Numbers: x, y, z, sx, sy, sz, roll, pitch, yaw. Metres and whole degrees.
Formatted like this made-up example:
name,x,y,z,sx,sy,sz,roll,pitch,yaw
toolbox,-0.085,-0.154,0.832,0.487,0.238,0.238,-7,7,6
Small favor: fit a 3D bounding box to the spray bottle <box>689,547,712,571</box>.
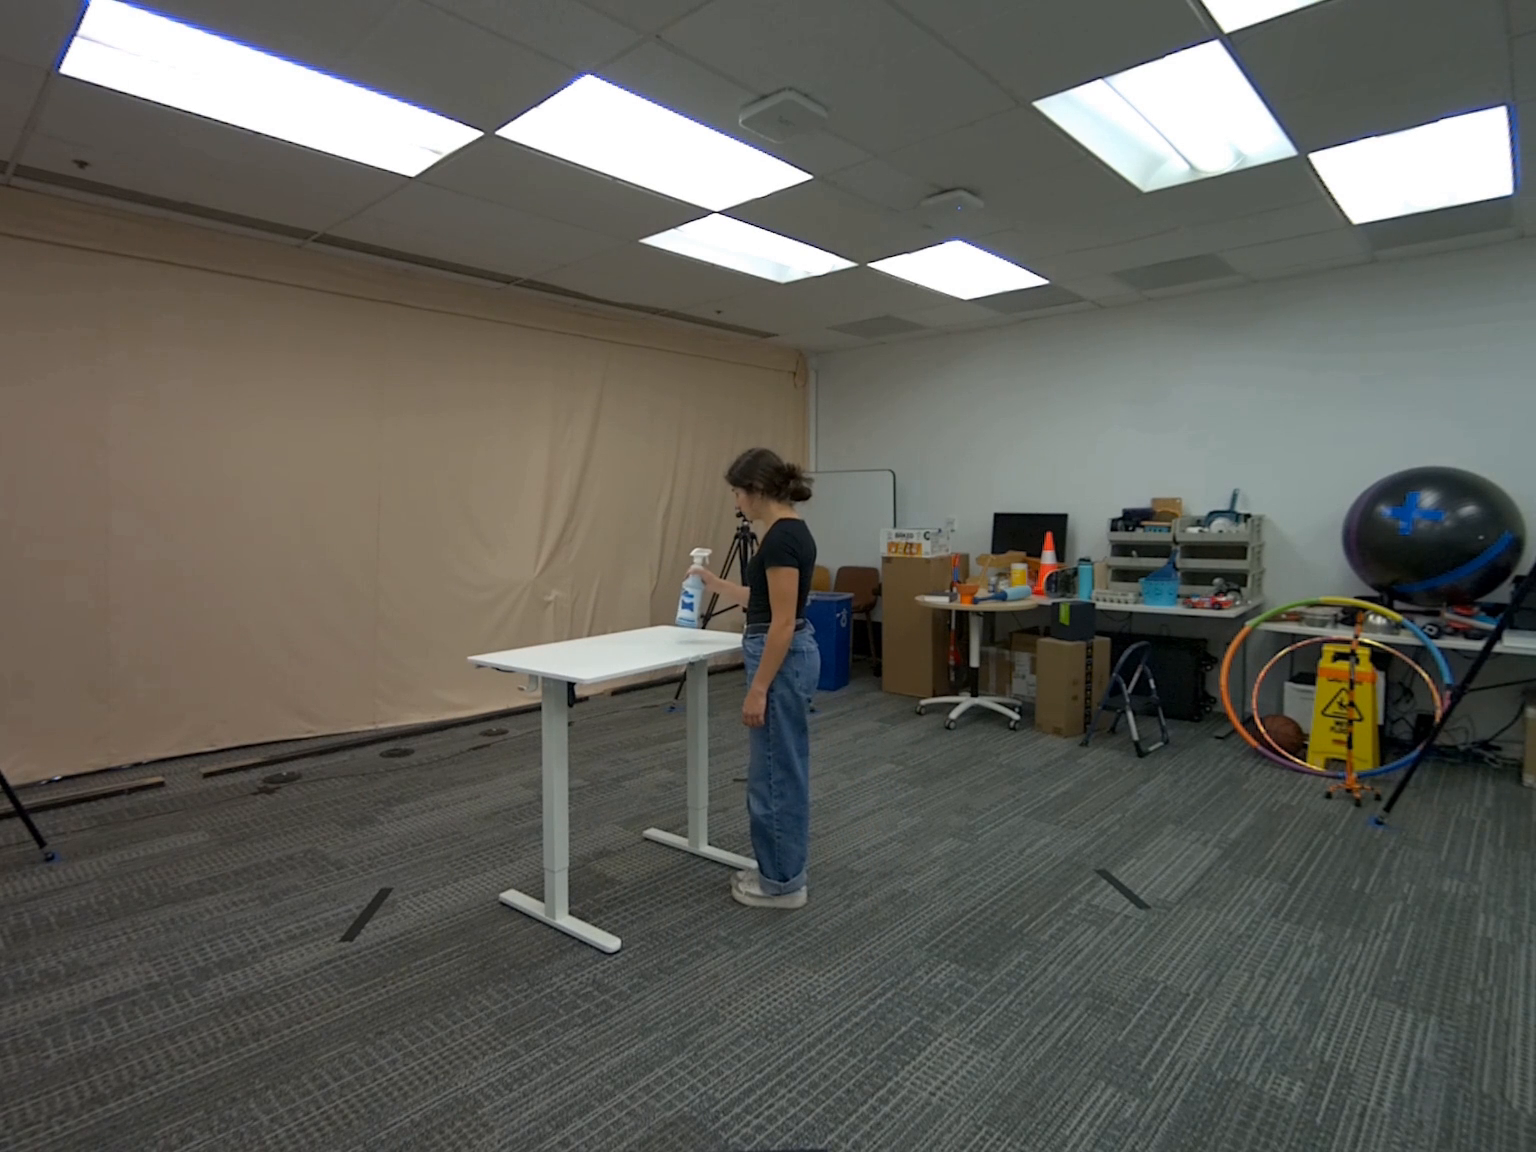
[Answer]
name,x,y,z,sx,sy,sz,roll,pitch,yaw
spray bottle,-0.280,0.043,3.173,0.089,0.297,0.088,10,2,-14
